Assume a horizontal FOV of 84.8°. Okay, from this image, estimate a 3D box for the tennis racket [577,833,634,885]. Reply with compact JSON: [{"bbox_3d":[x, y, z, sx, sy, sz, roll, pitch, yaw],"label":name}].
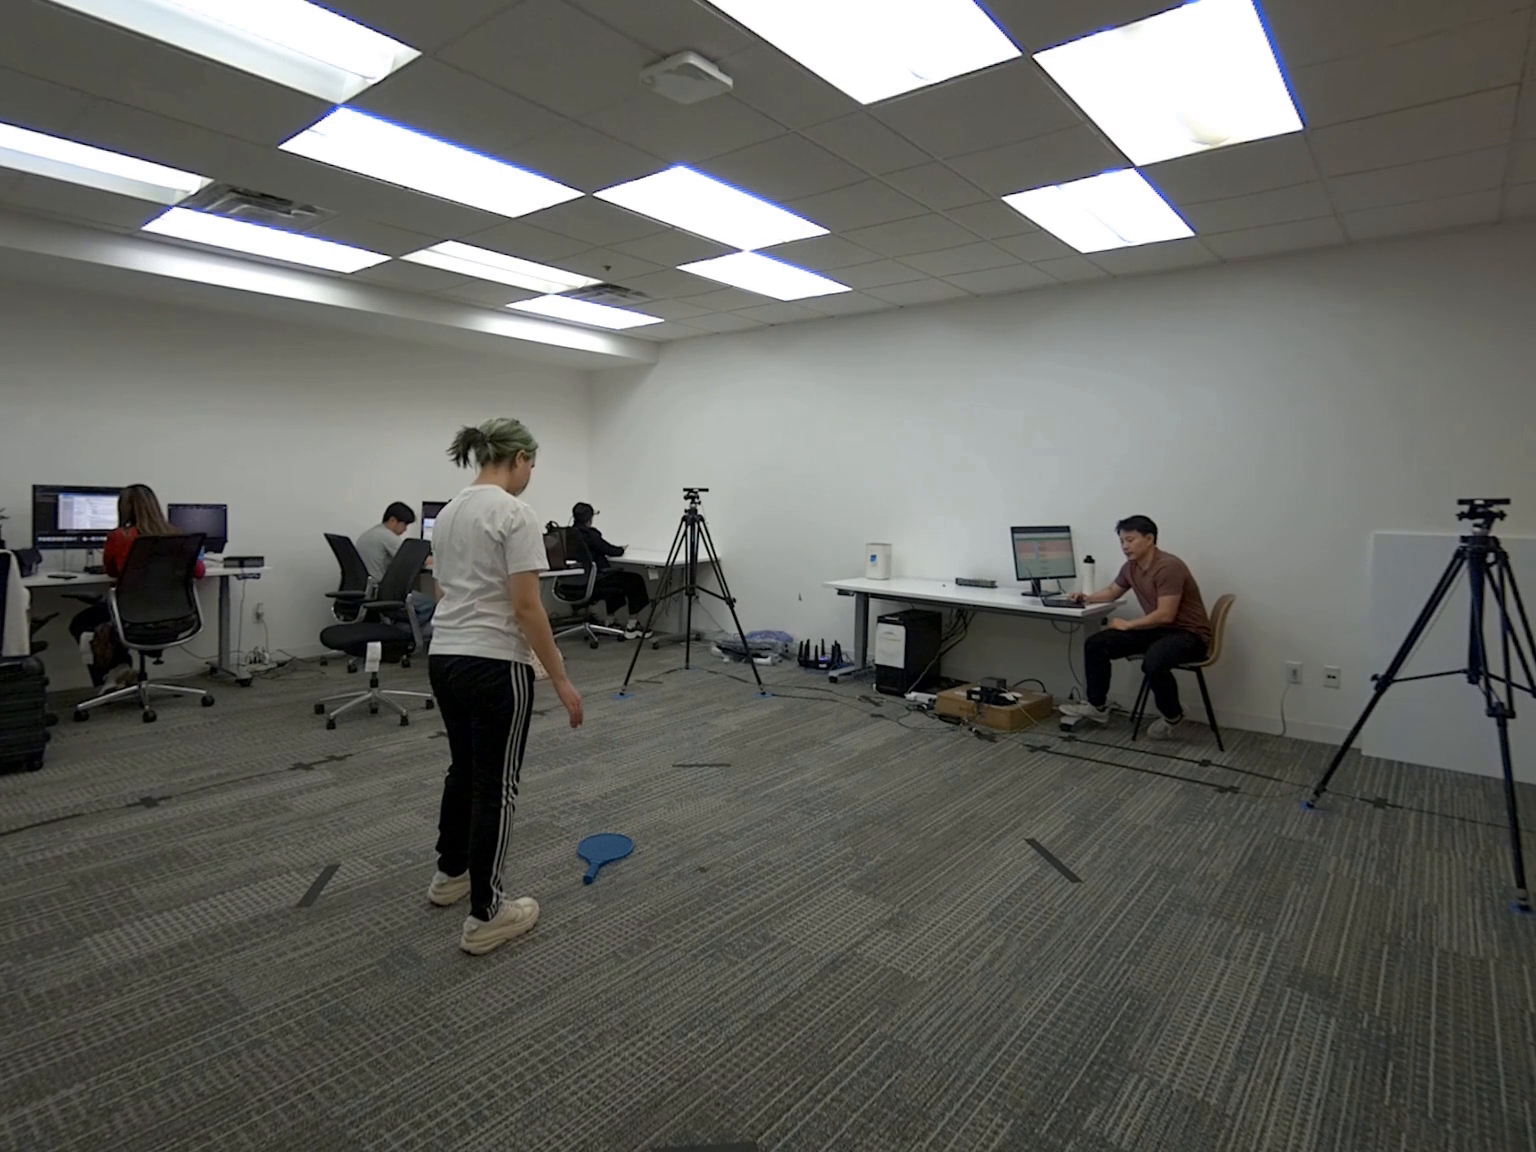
[{"bbox_3d":[-0.634,1.043,3.181,0.214,0.031,0.434,1,5,-1],"label":"tennis racket"}]
